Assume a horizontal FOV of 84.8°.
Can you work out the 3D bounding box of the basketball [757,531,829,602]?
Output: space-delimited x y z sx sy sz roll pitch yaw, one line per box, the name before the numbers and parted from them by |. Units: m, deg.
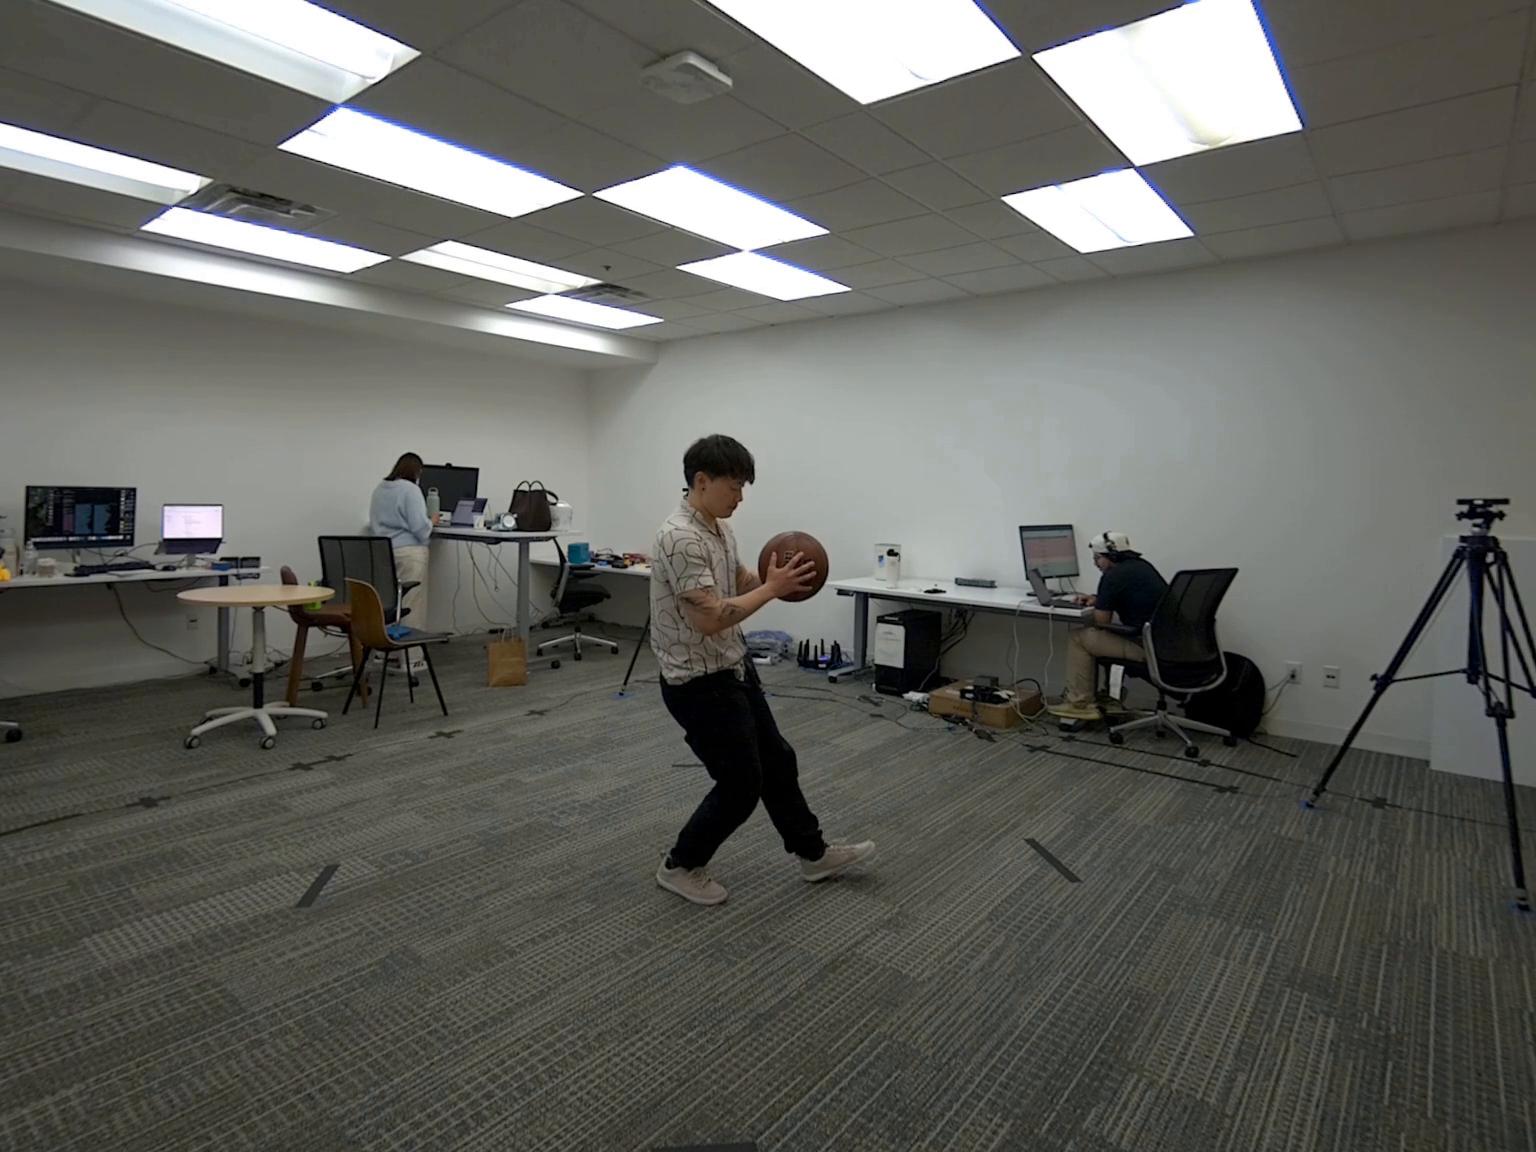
basketball | 0.089 -0.038 2.849 0.235 0.235 0.237 1 4 -2
